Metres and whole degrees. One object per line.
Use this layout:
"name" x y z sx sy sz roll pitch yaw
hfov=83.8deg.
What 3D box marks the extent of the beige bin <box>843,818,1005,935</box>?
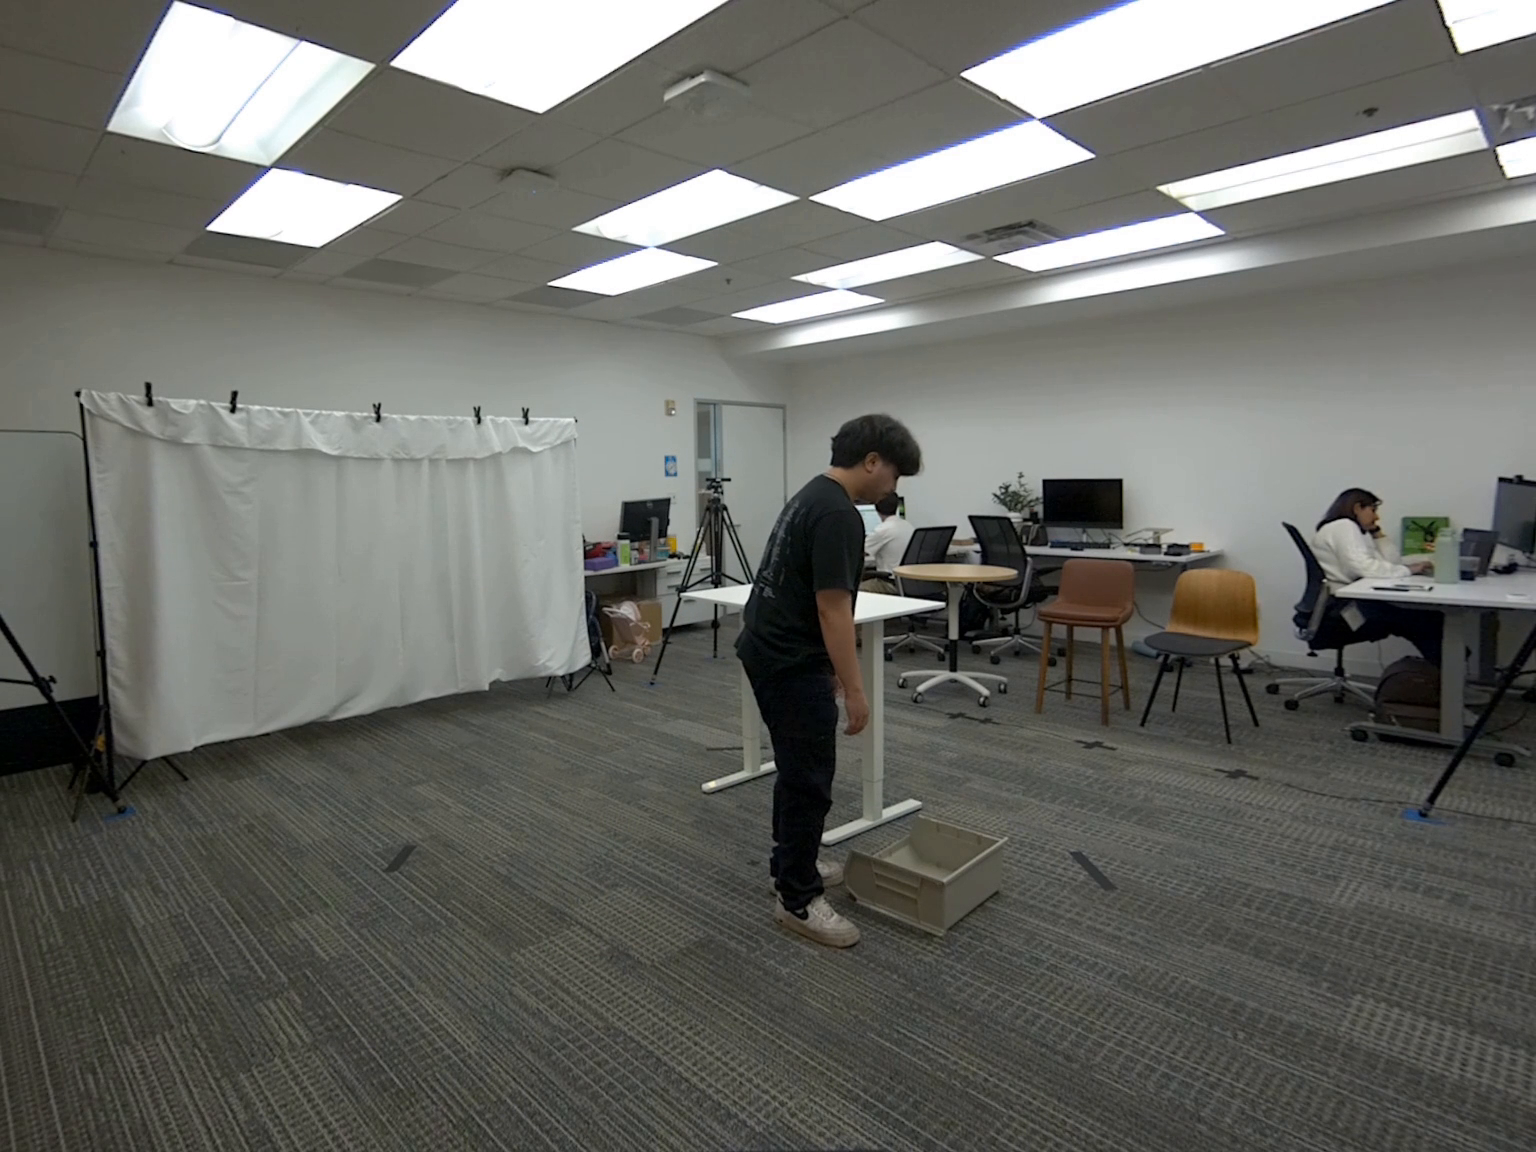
"beige bin" 0.525 0.974 2.844 0.389 0.188 0.411 5 8 43
